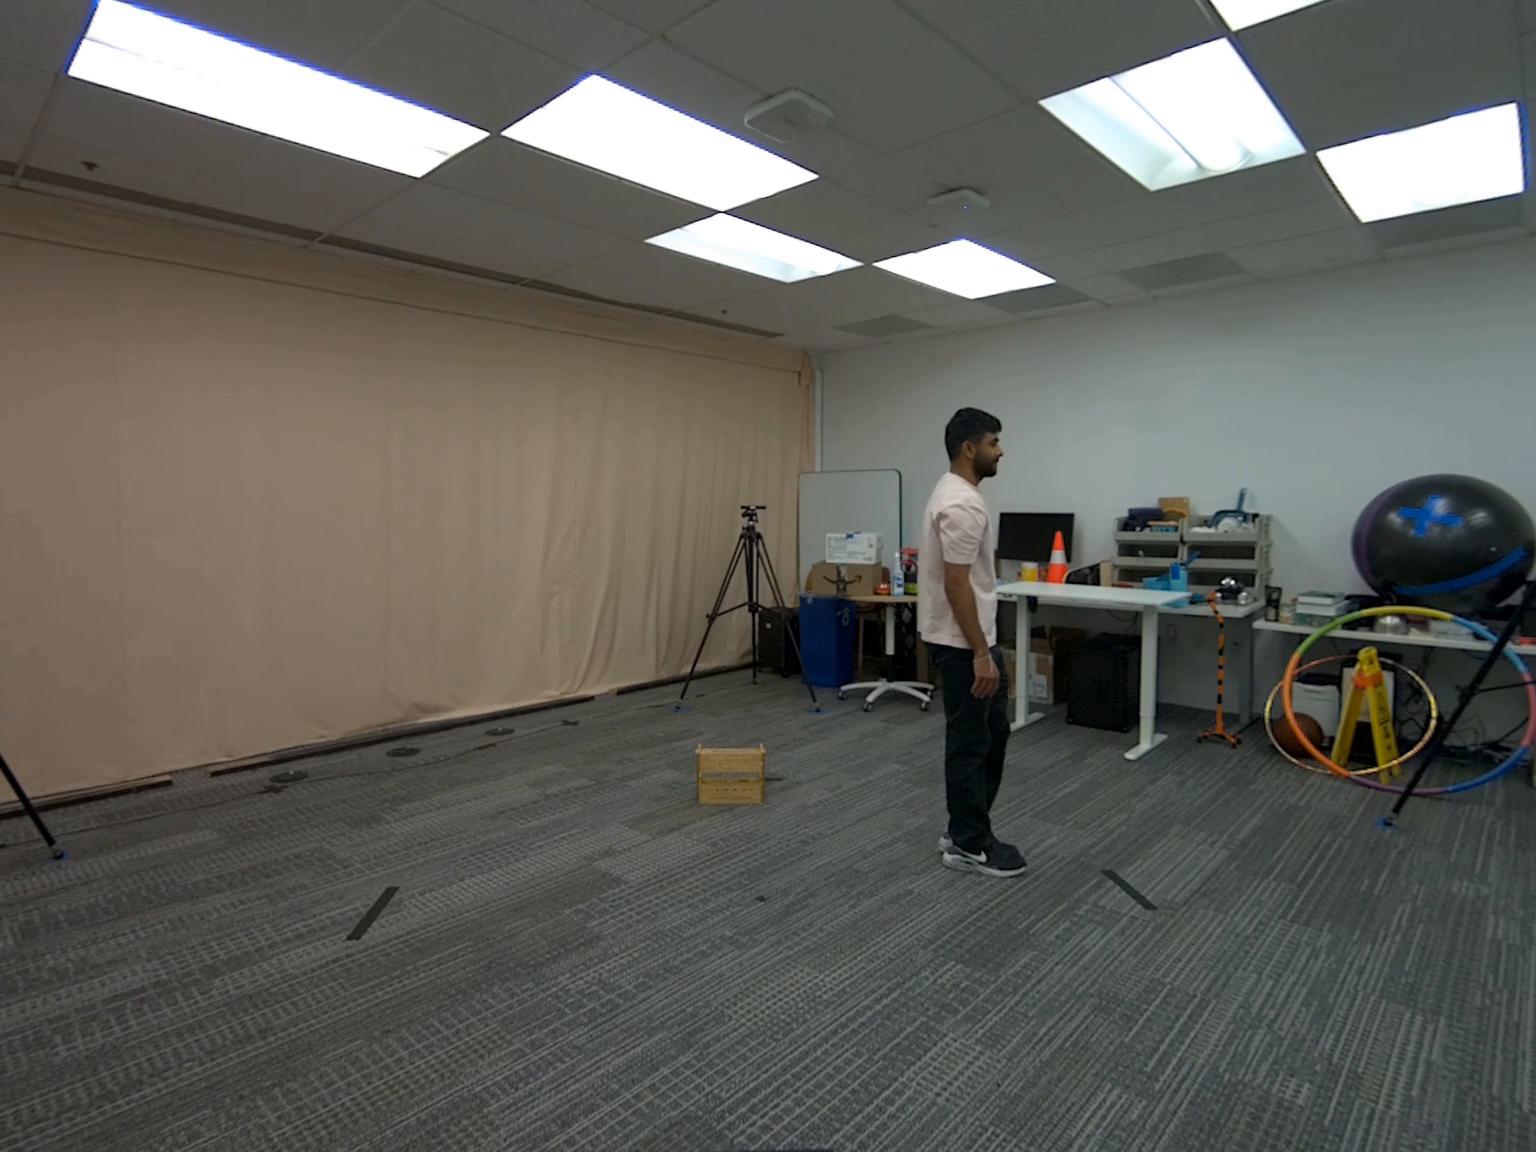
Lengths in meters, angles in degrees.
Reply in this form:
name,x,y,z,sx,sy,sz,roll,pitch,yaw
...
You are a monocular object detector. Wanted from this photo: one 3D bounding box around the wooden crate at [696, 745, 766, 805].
name,x,y,z,sx,sy,sz,roll,pitch,yaw
wooden crate,-0.182,0.927,4.044,0.324,0.273,0.303,-1,3,-2
